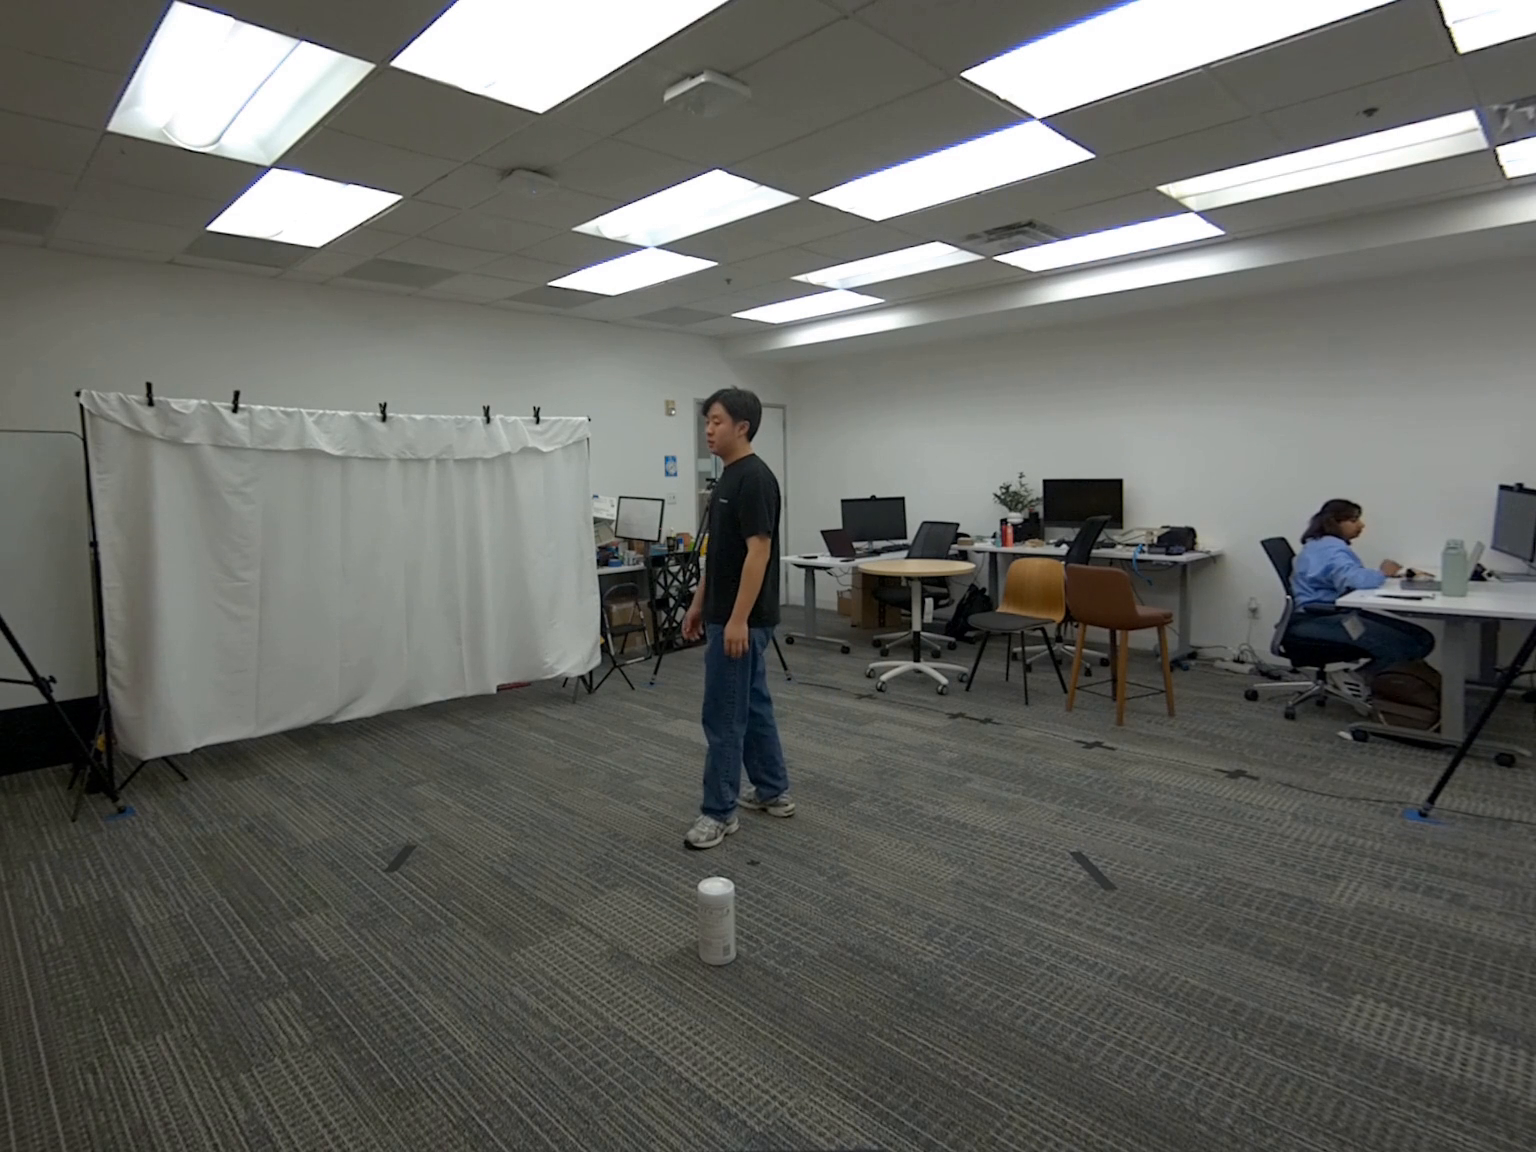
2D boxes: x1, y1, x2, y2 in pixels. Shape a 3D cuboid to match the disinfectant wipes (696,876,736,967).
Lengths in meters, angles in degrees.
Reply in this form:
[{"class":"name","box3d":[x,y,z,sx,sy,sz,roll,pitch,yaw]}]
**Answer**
[{"class":"disinfectant wipes","box3d":[-0.145,1.014,2.496,0.118,0.216,0.118,-2,6,-1]}]
